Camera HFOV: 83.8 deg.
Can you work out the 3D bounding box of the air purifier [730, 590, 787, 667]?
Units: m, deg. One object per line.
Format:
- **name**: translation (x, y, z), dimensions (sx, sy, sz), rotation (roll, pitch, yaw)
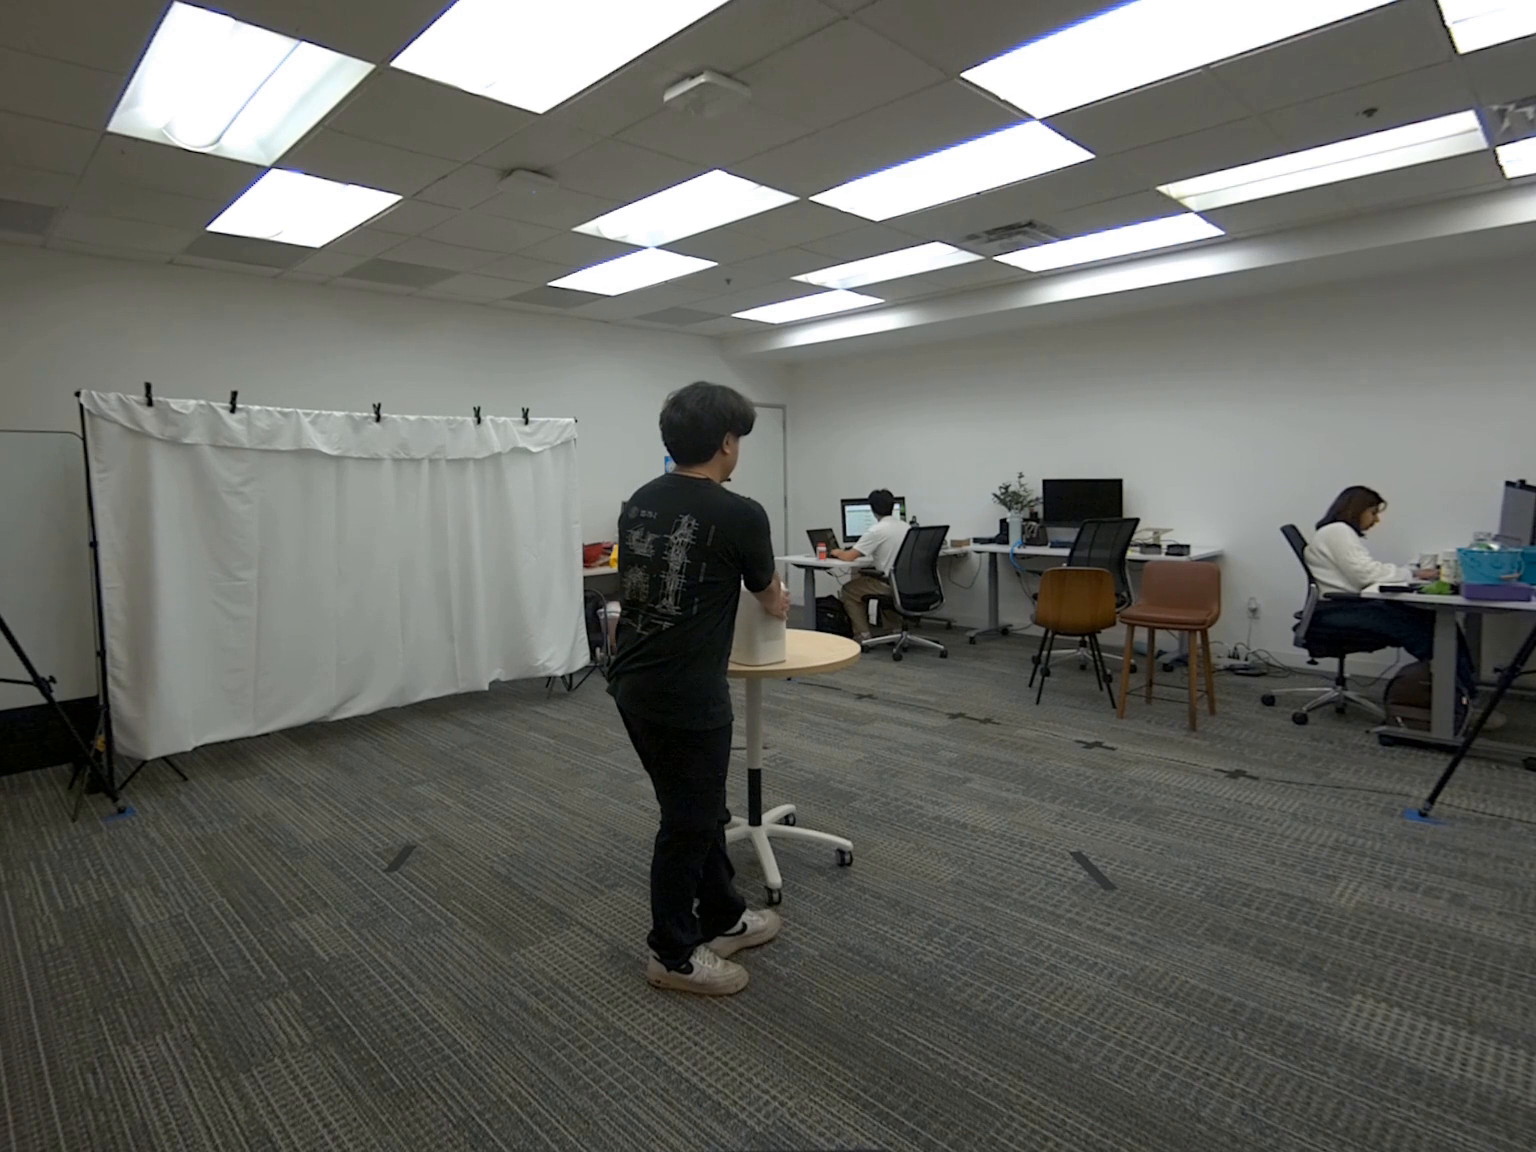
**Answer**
- **air purifier**: translation (-0.037, 0.150, 2.817), dimensions (0.167, 0.264, 0.176), rotation (-4, 6, -38)
